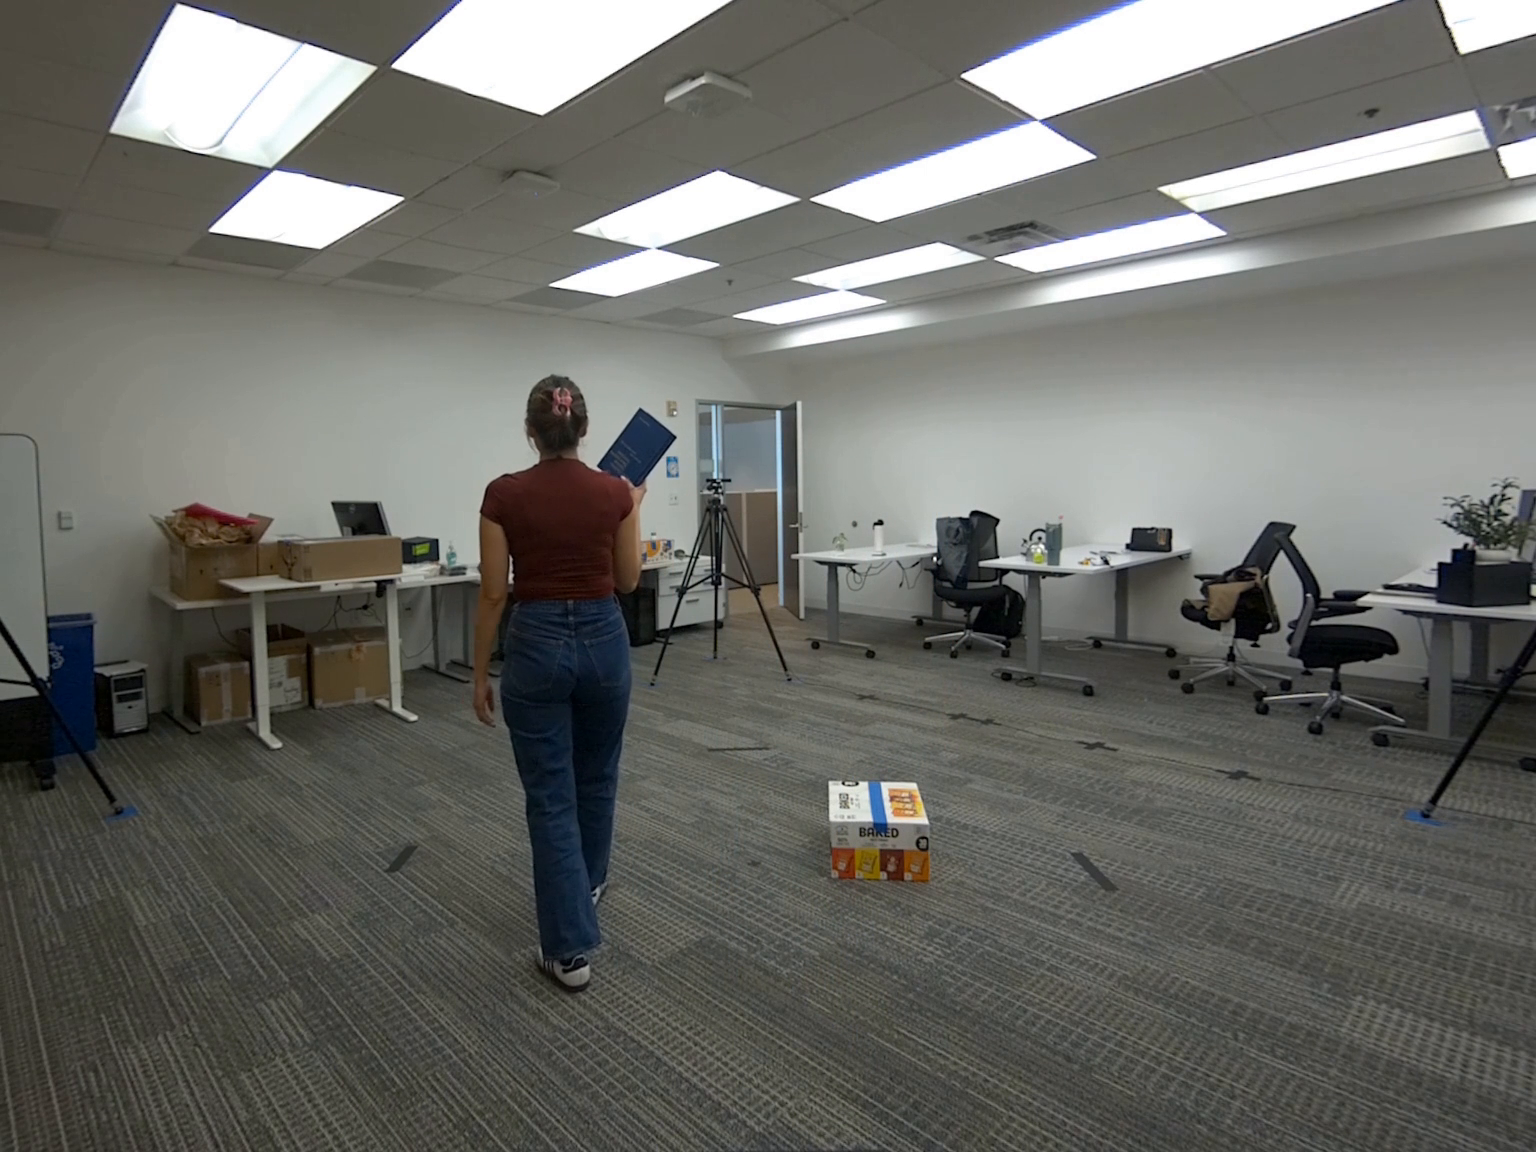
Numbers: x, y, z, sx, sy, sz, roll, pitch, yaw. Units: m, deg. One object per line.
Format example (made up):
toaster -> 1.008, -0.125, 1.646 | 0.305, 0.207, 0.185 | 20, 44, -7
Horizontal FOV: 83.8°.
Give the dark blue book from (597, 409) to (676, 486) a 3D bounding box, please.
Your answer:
dark blue book -> -0.430, -0.412, 2.807 | 0.169, 0.245, 0.044 | 41, 4, 28
